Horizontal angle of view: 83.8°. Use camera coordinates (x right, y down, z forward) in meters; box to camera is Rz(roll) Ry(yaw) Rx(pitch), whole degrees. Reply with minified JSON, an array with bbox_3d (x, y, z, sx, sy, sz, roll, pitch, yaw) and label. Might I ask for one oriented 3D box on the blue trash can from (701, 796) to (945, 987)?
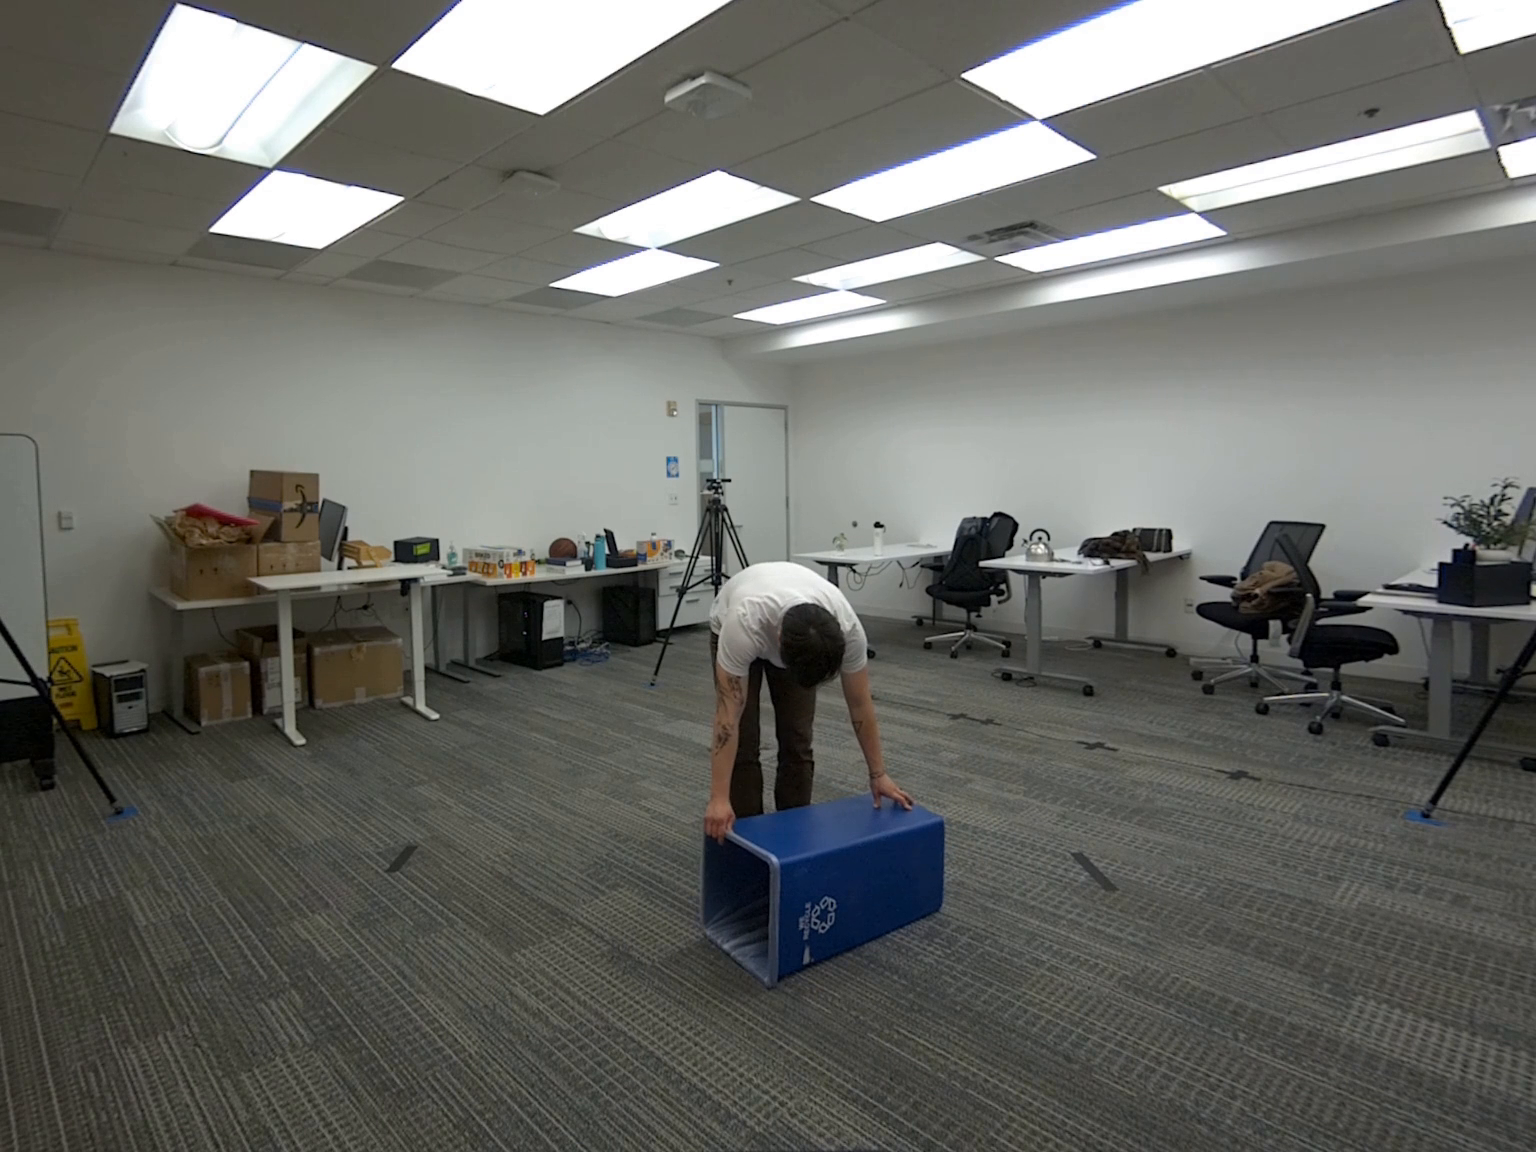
[{"bbox_3d":[0.196,0.923,2.659,0.695,0.377,0.385,-2,4,-33],"label":"blue trash can"}]
